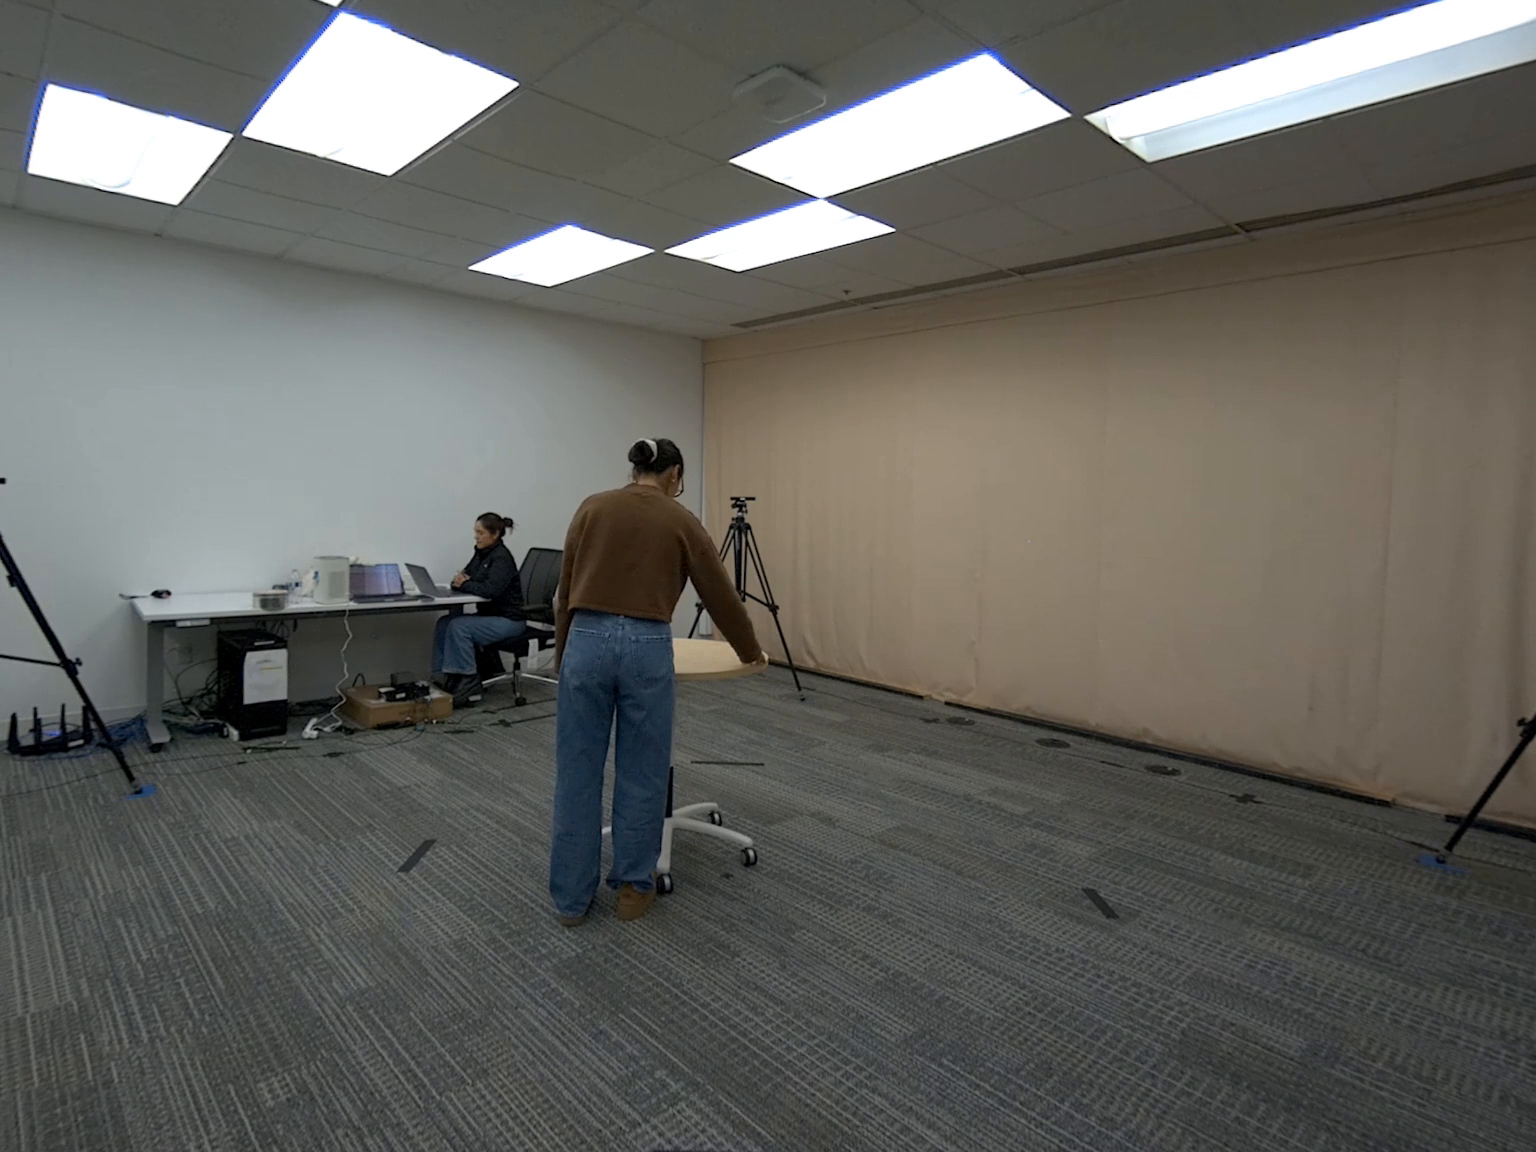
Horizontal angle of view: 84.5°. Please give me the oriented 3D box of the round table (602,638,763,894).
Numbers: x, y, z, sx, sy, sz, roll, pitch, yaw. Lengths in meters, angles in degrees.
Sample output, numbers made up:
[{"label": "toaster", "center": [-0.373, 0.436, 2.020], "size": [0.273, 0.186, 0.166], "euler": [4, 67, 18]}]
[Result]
[{"label": "round table", "center": [-0.400, 0.698, 3.296], "size": [0.763, 0.792, 0.766], "euler": [1, 3, -1]}]
